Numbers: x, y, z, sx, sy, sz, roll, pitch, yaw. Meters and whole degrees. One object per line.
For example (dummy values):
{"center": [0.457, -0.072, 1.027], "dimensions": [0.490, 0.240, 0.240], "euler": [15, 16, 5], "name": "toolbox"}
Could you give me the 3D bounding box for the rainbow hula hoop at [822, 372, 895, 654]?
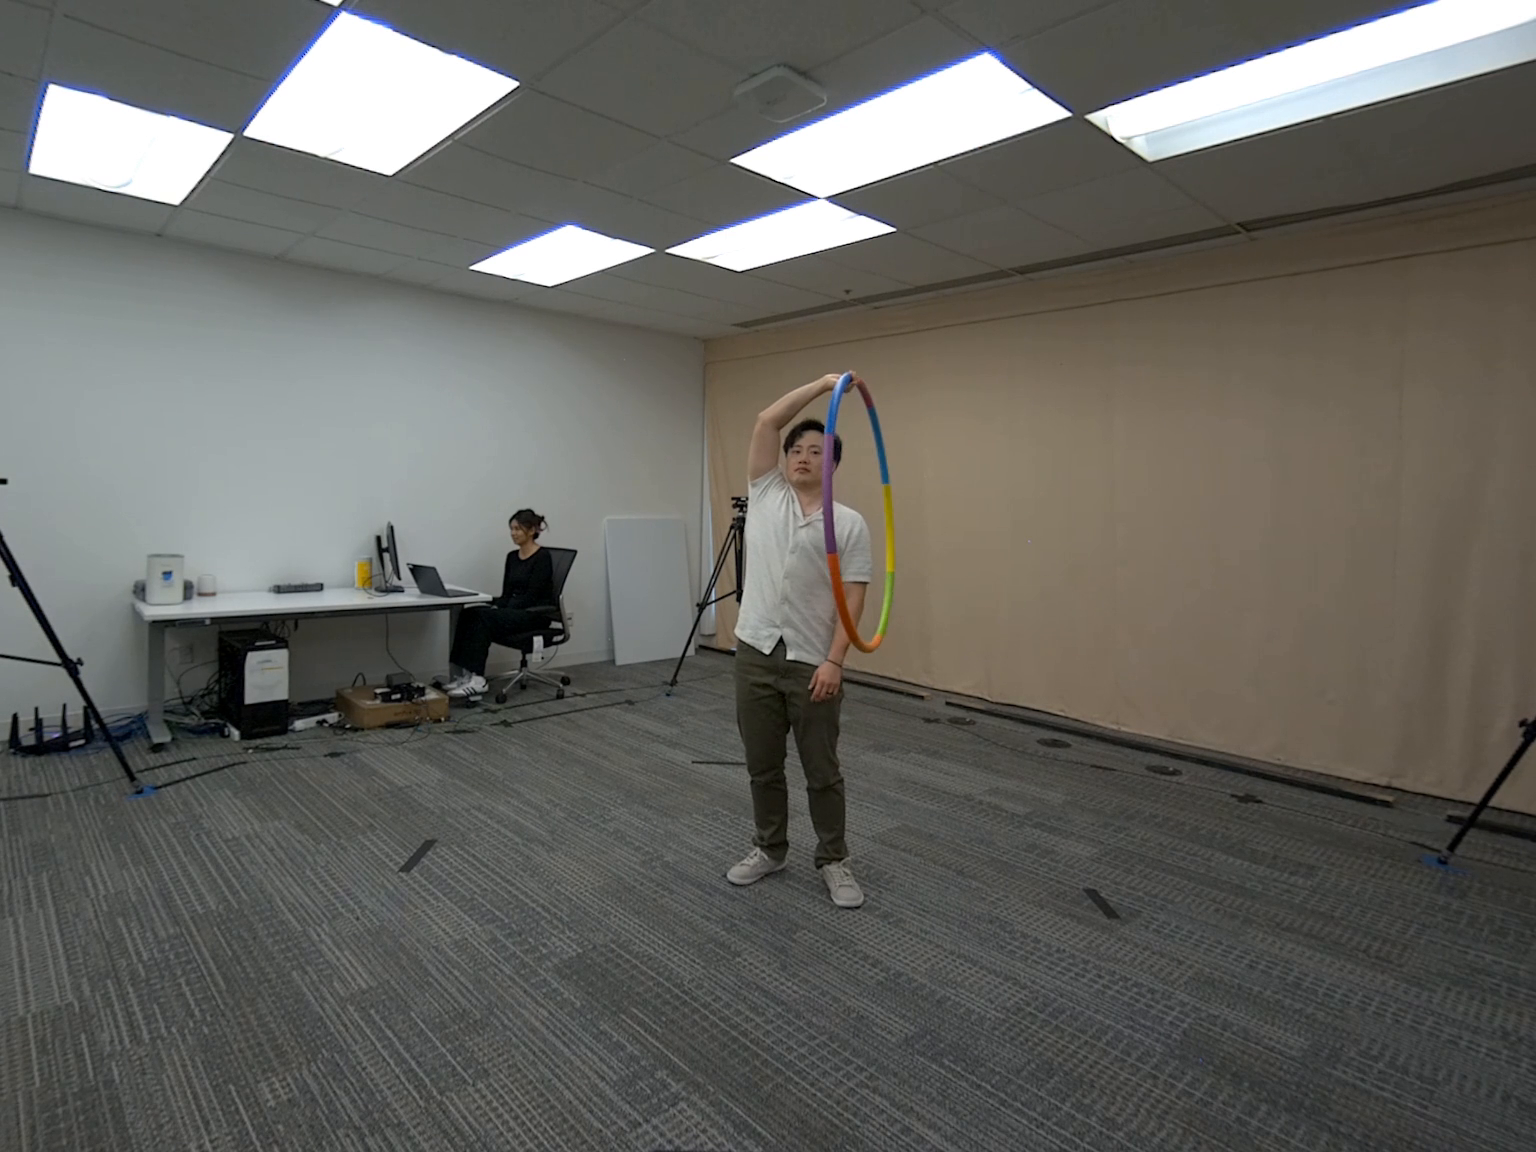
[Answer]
{"center": [0.341, -0.220, 3.005], "dimensions": [0.036, 0.977, 0.965], "euler": [-4, 2, 20], "name": "rainbow hula hoop"}
